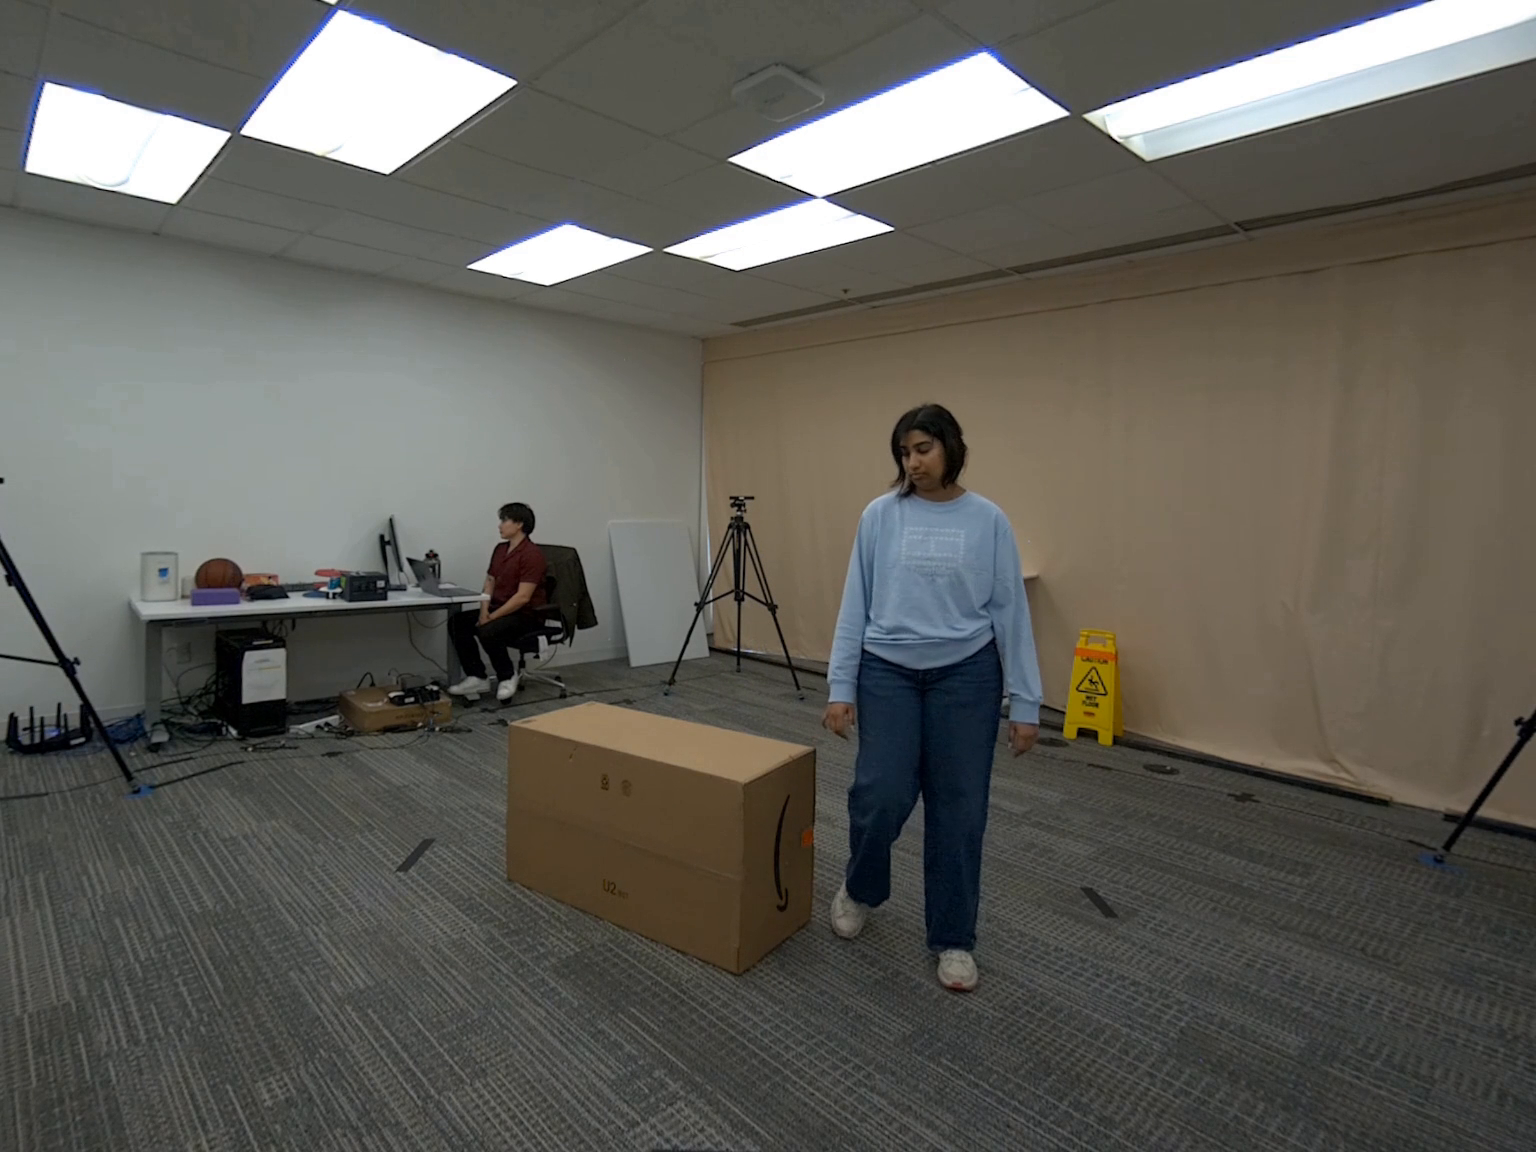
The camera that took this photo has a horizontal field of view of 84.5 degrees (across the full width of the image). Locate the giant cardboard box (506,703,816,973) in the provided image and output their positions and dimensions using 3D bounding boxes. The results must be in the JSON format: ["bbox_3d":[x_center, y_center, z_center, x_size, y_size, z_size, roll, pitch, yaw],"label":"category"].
[{"bbox_3d":[-0.398,0.832,2.894,1.052,0.582,0.437,5,6,35],"label":"giant cardboard box"}]
